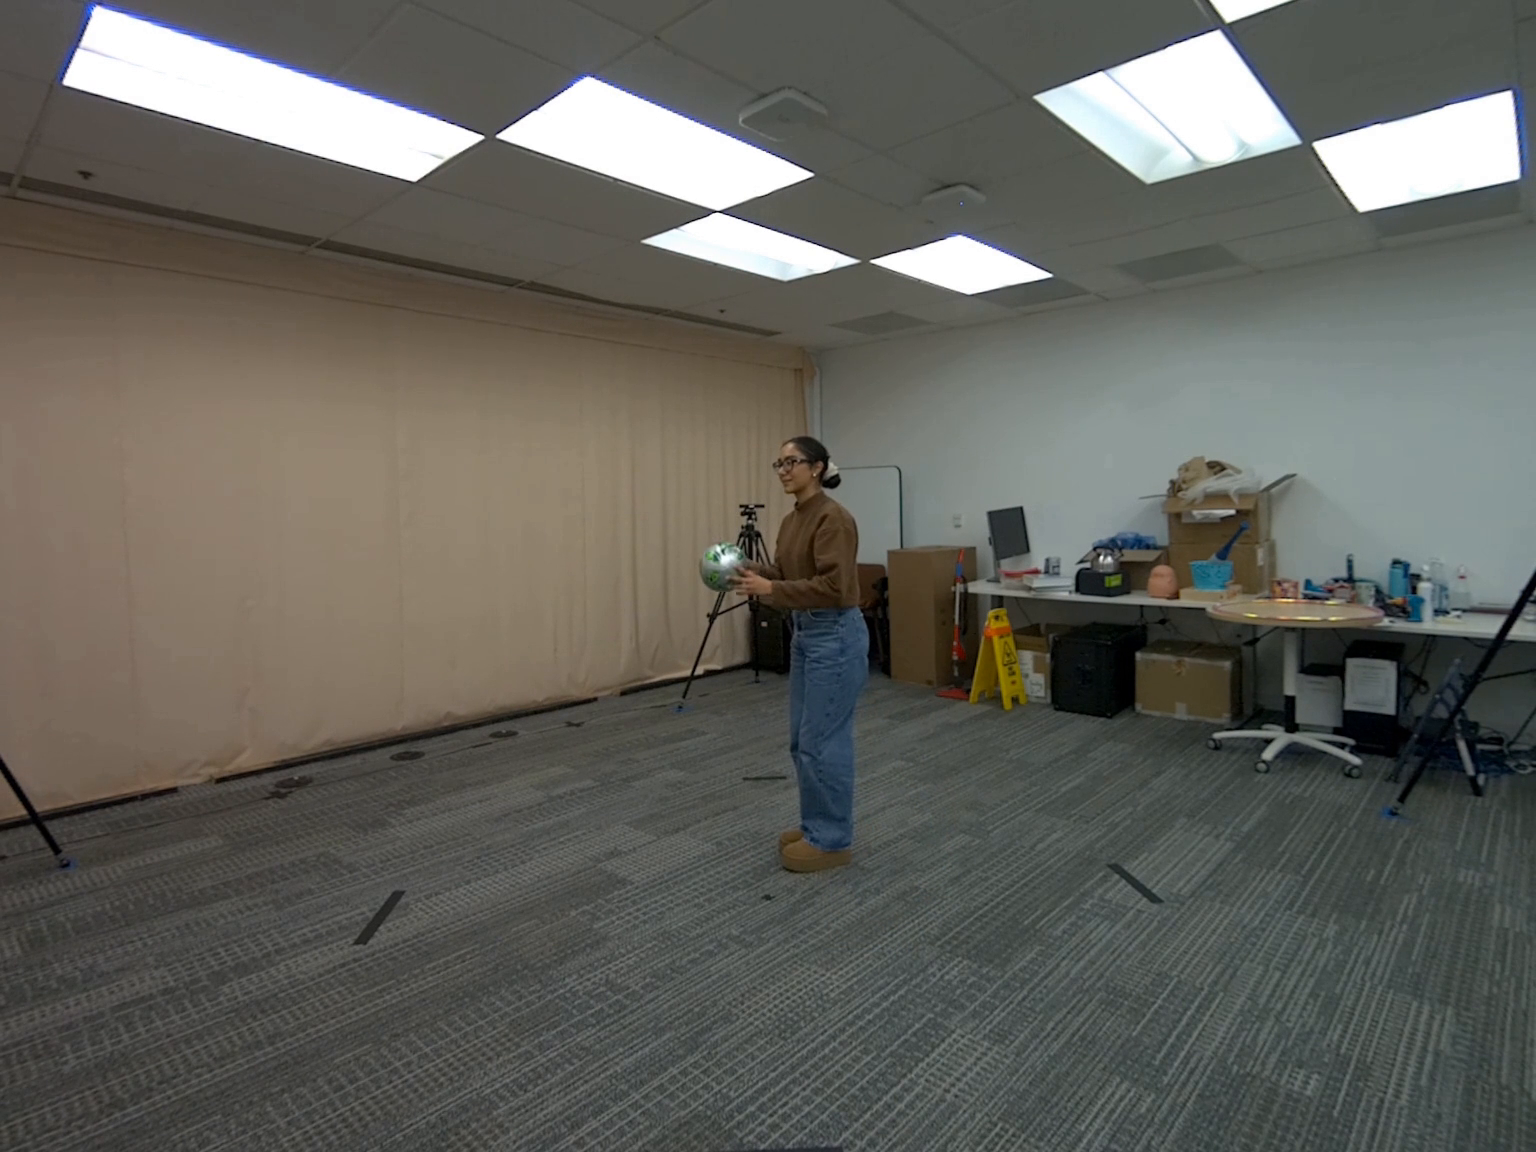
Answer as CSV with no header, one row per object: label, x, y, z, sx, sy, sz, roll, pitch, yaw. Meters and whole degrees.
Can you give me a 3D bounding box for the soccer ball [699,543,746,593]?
soccer ball,-0.159,-0.032,3.165,0.187,0.187,0.188,-1,4,-2
